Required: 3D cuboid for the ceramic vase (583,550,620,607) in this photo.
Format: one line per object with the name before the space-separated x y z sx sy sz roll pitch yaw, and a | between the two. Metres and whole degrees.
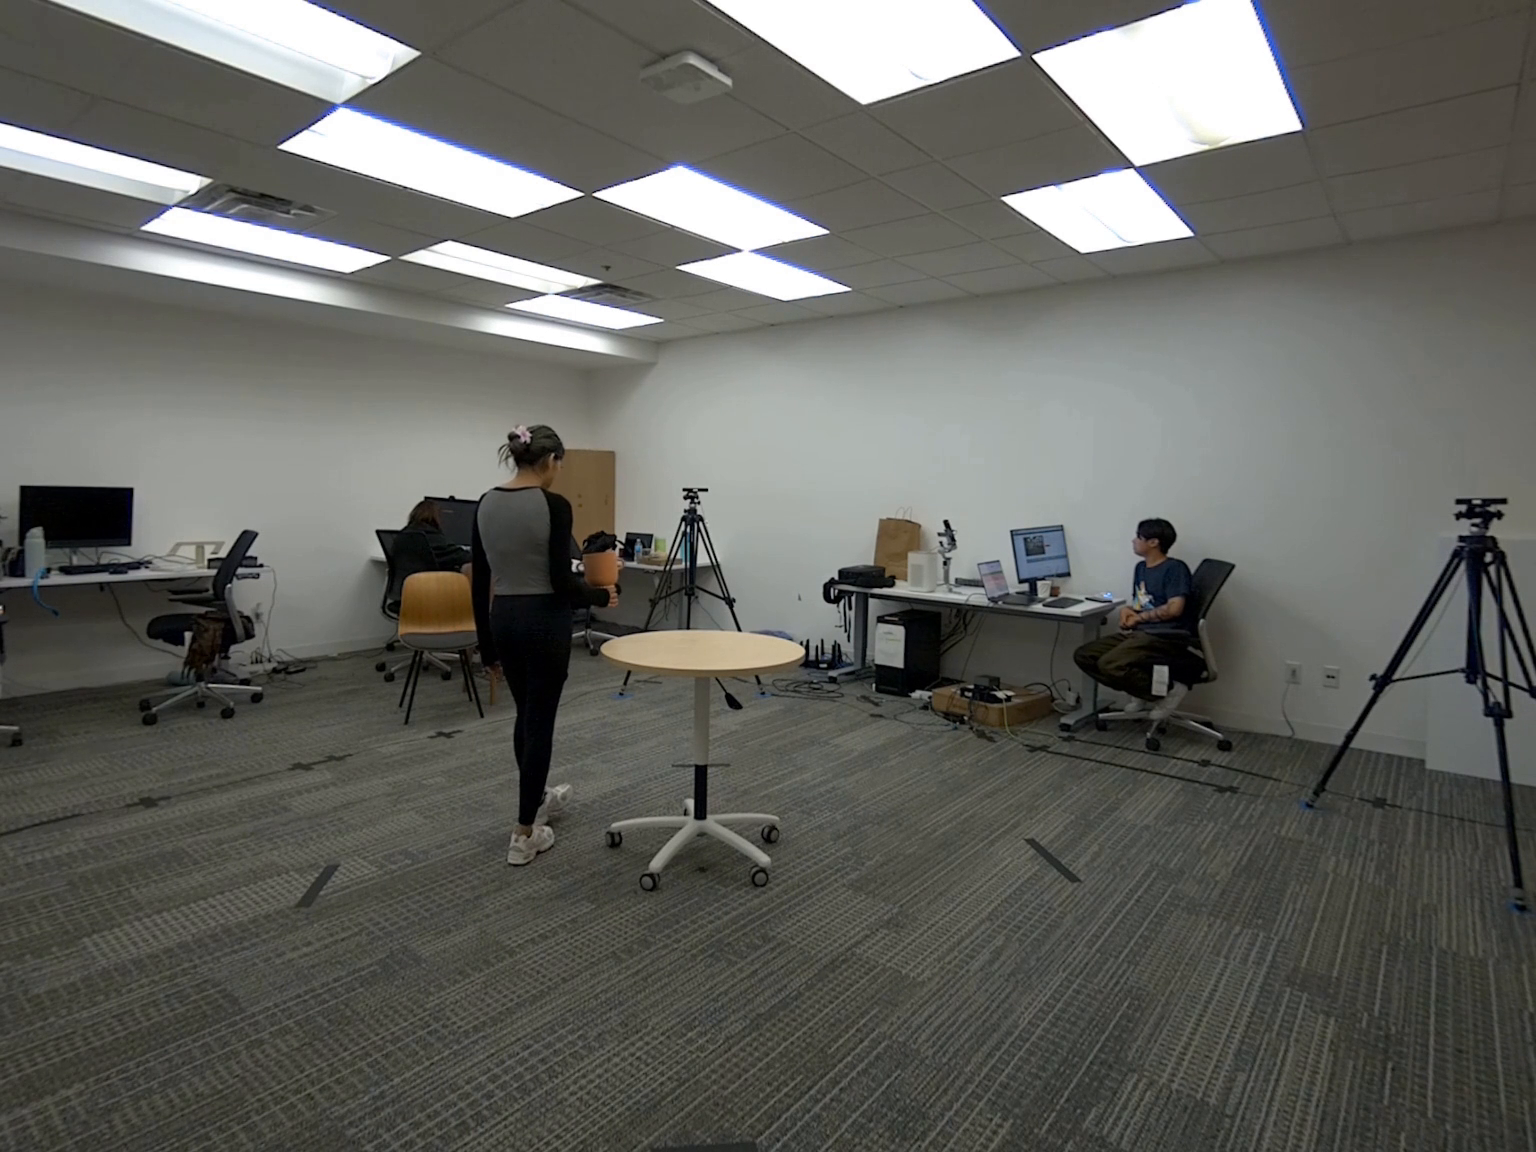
ceramic vase | -0.684 0.014 3.417 0.162 0.220 0.131 -5 0 24
